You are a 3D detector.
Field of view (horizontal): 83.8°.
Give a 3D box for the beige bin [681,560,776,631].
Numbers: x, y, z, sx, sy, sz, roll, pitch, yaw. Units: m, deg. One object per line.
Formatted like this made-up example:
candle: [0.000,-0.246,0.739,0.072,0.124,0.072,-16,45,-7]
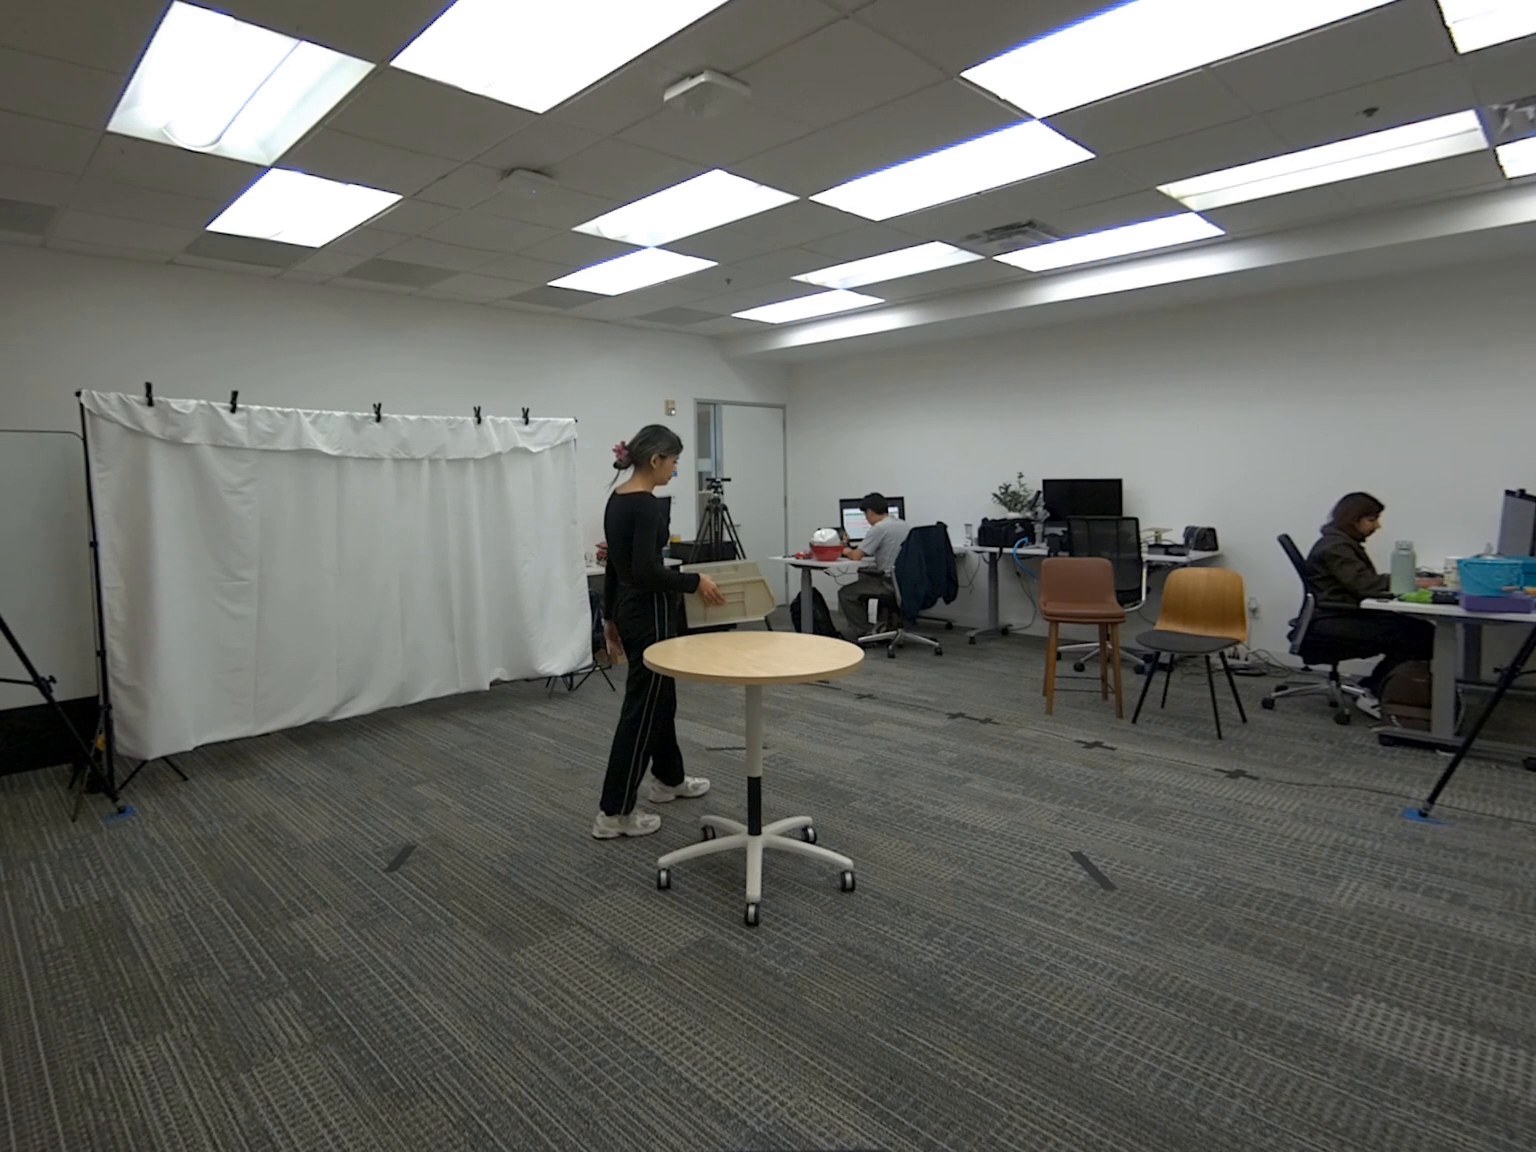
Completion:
beige bin: [-0.180,0.066,3.647,0.376,0.187,0.428,-6,11,-4]
